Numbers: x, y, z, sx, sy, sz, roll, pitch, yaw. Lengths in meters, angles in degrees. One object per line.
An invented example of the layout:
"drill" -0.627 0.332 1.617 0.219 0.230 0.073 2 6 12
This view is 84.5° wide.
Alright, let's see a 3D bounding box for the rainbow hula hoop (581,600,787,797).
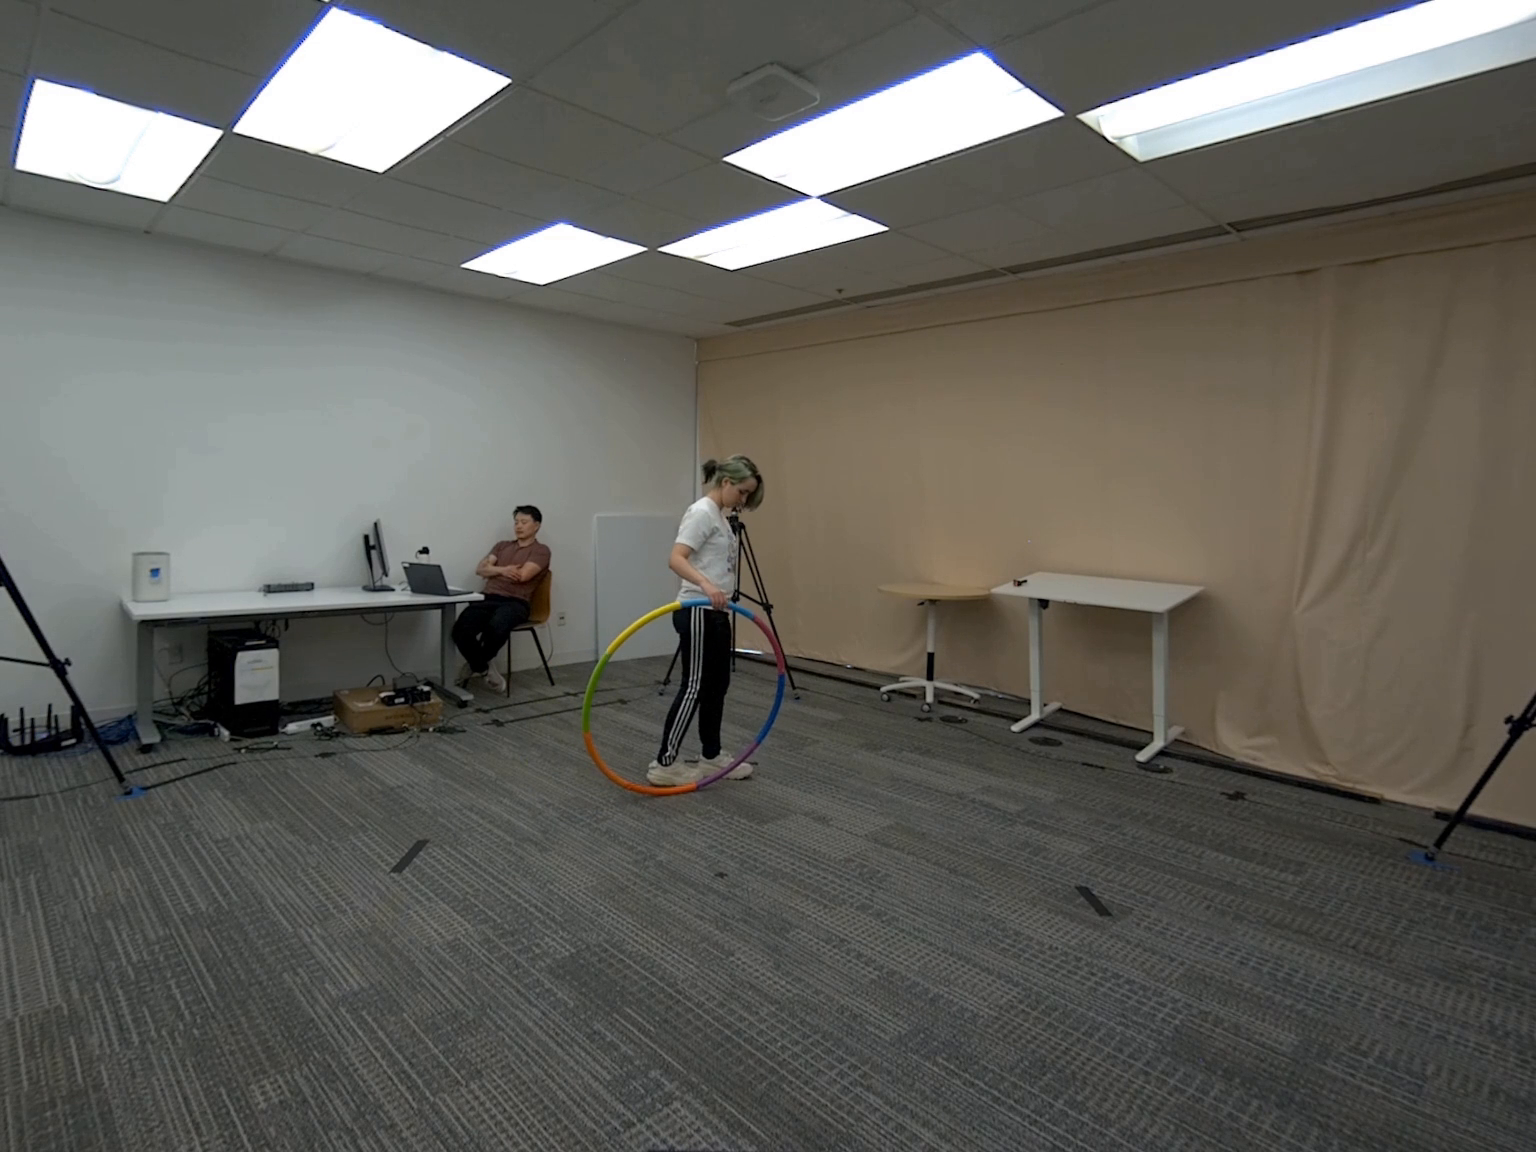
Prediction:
"rainbow hula hoop" -0.368 0.560 3.815 0.960 0.968 0.036 -1 20 -27
